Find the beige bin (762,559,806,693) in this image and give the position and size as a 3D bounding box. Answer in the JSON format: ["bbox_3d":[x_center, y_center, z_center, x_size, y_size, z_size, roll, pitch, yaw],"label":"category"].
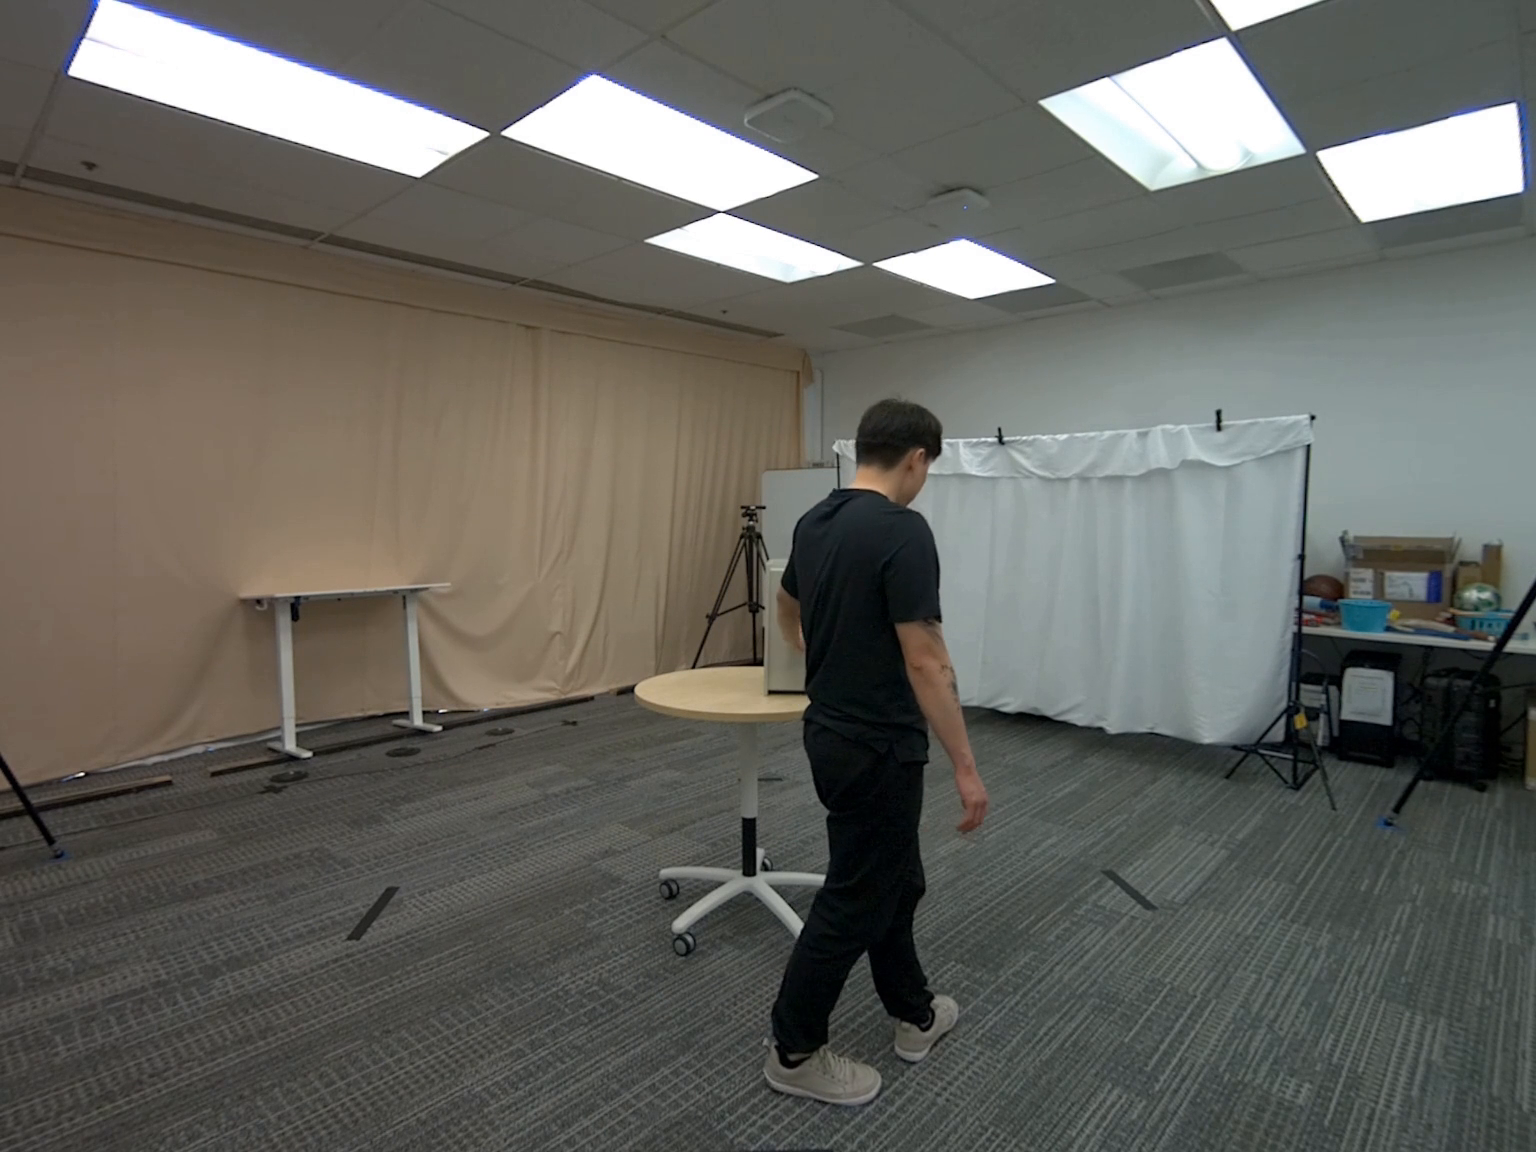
[{"bbox_3d":[0.092,0.157,2.853,0.190,0.422,0.376,2,2,3],"label":"beige bin"}]
